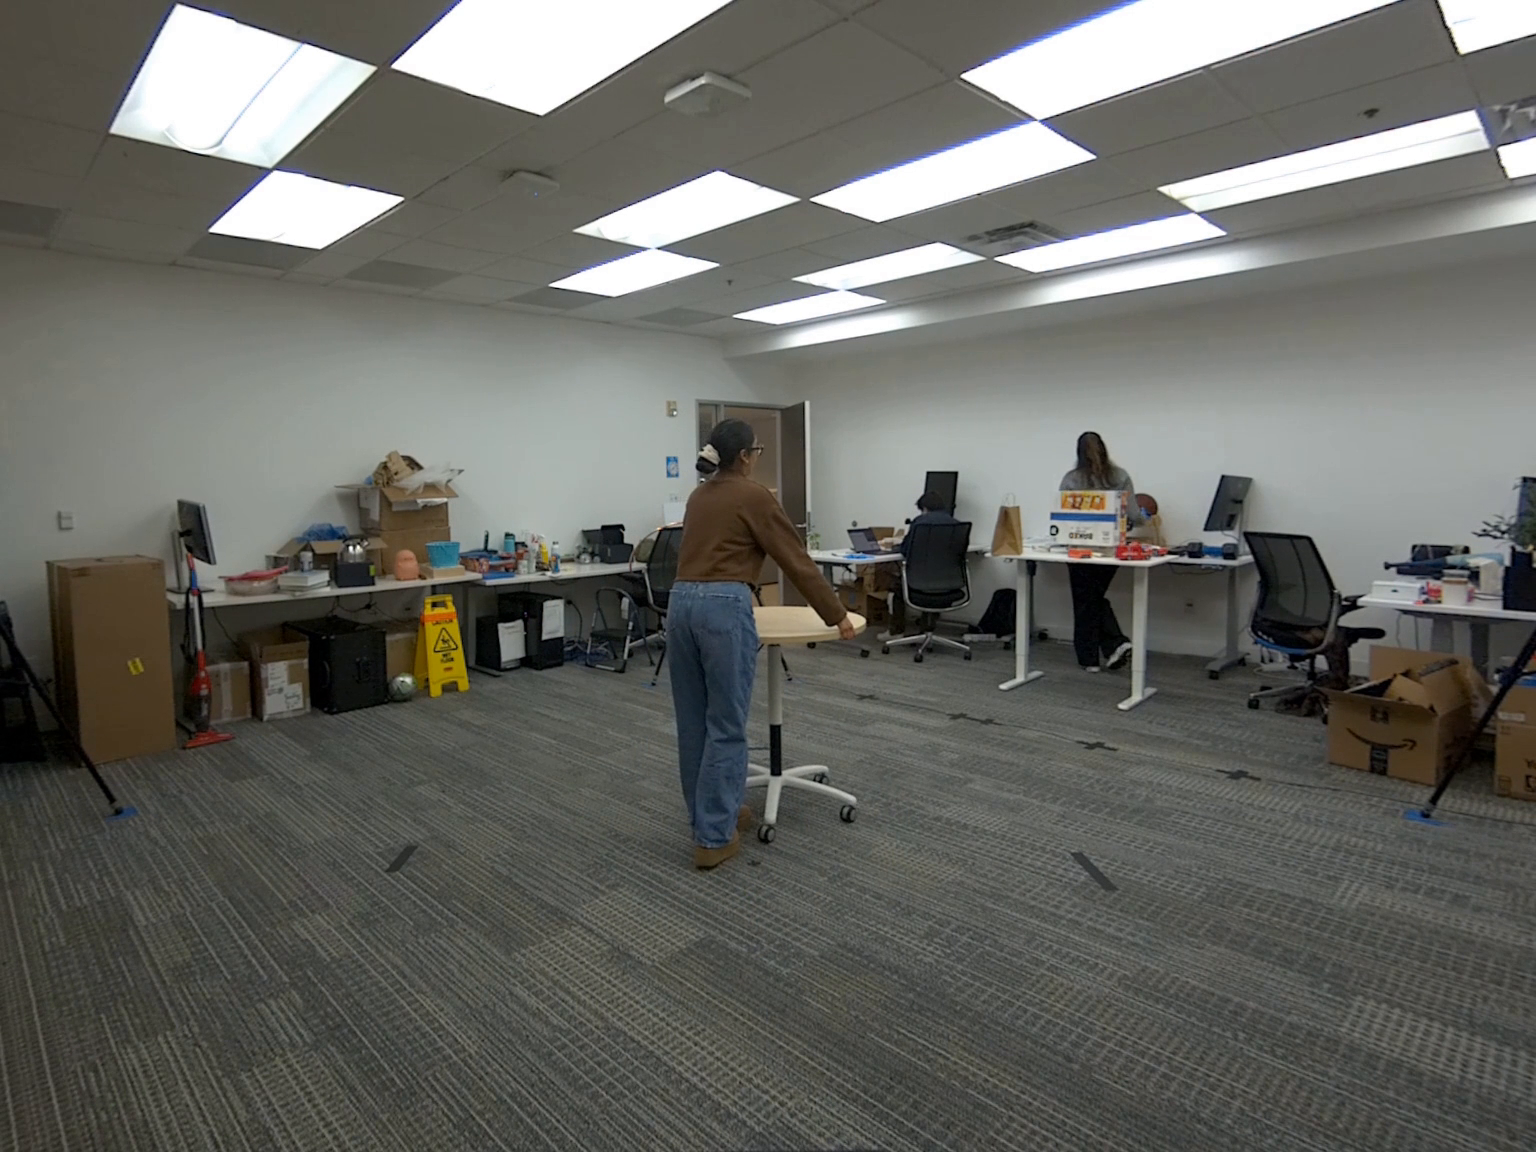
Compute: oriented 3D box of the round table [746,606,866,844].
[{"bbox_3d":[0.033,0.583,3.627,0.784,0.783,0.789,-1,5,-2],"label":"round table"}]
